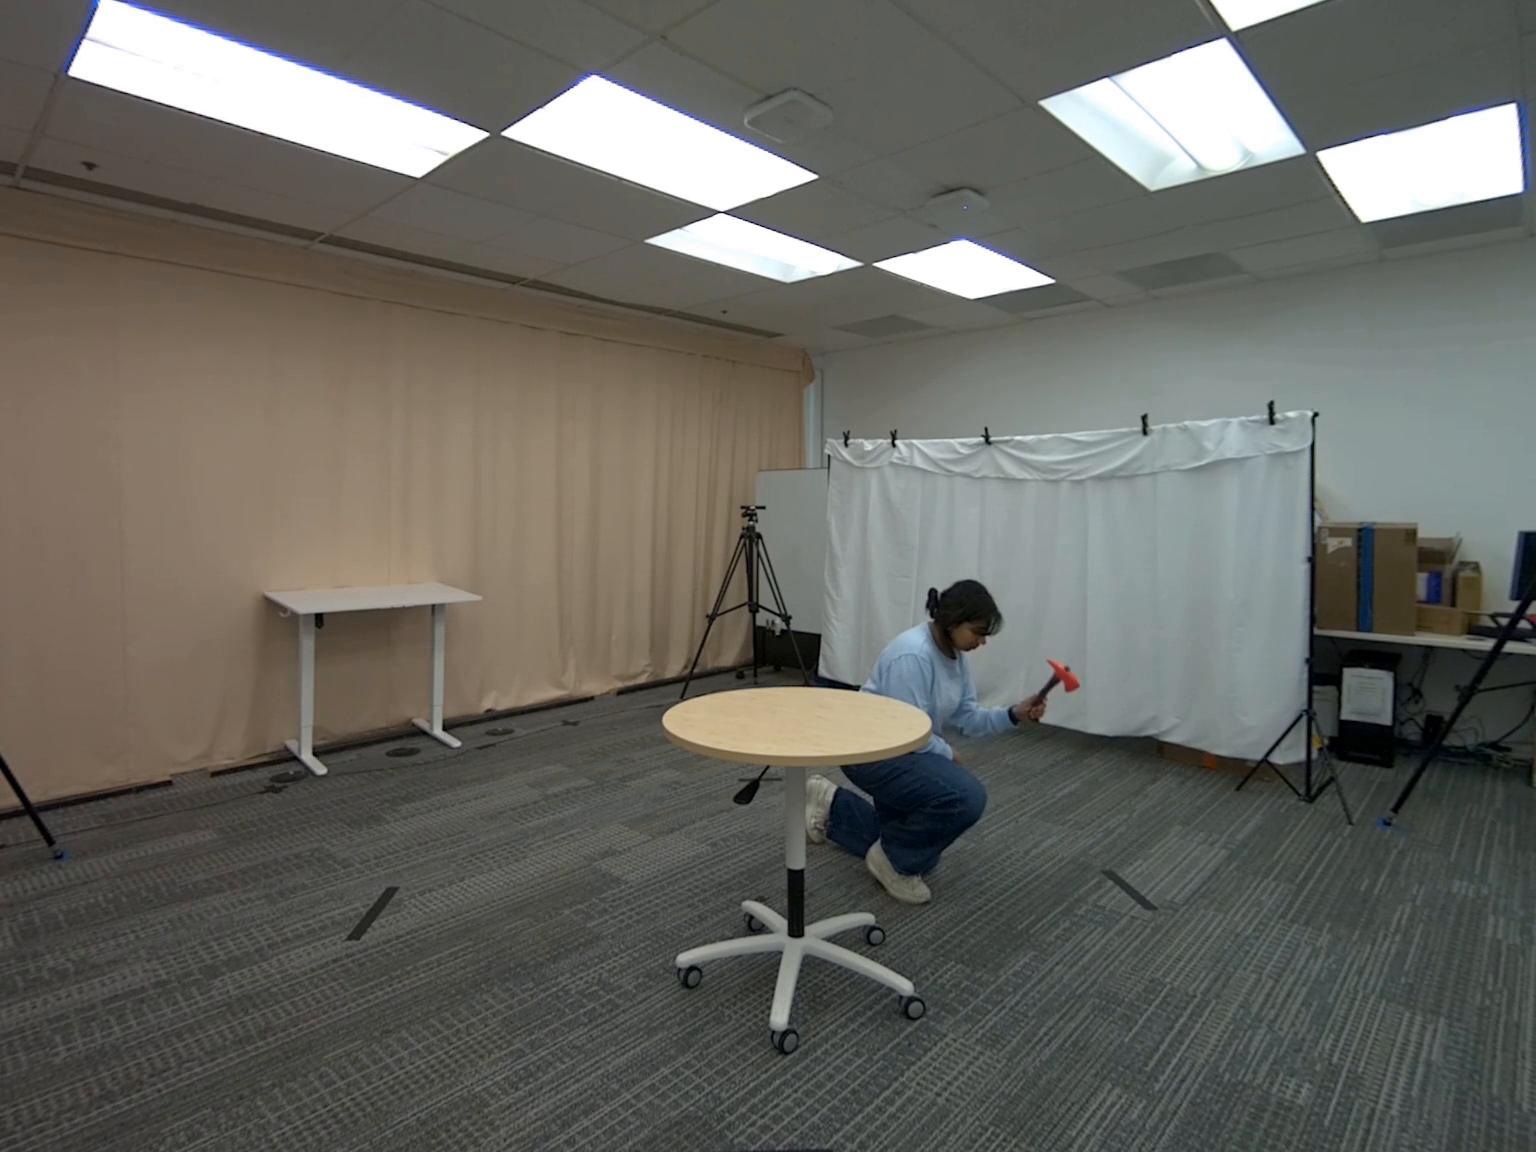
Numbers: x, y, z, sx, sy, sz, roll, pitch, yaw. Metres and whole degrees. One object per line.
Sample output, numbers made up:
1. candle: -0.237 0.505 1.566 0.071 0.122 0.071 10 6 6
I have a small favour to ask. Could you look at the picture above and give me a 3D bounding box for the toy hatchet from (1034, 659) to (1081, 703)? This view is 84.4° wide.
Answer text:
1. toy hatchet: 1.016 0.448 2.957 0.135 0.267 0.029 26 34 27
